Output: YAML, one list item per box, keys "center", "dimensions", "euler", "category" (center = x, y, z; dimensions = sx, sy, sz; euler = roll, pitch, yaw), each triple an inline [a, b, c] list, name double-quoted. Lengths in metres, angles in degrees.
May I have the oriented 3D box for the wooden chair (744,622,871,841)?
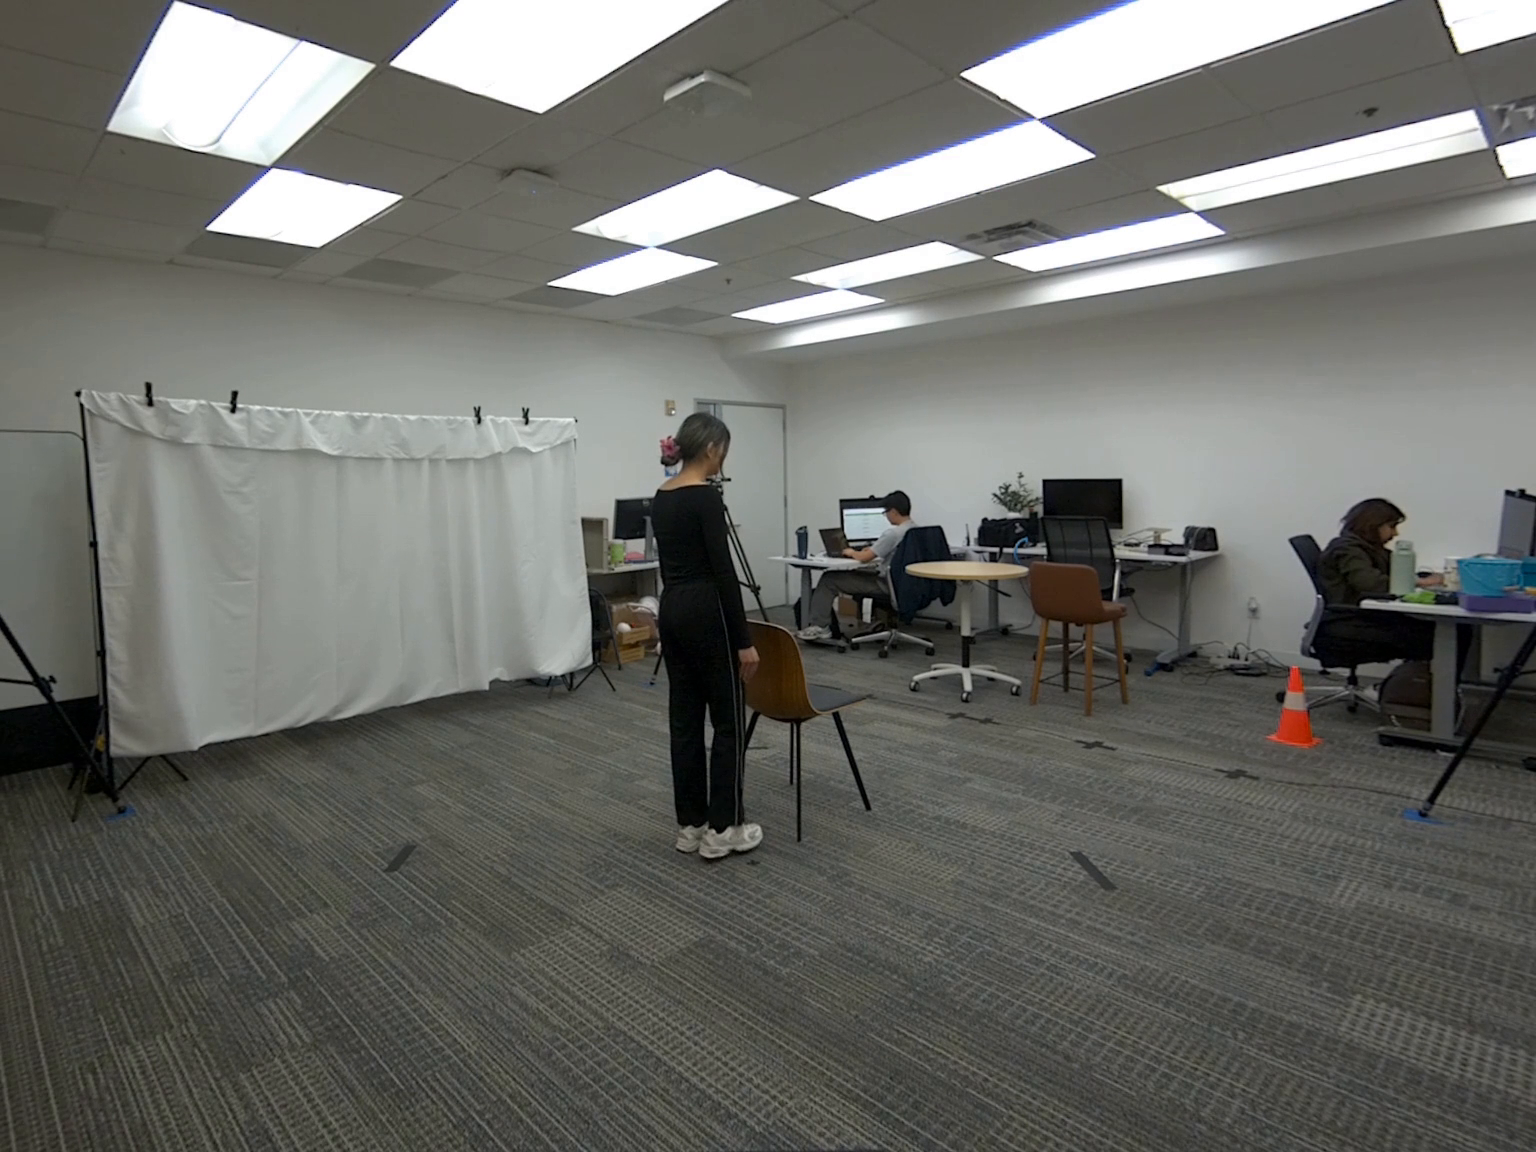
- center: [0.115, 0.560, 3.567]
  dimensions: [0.511, 0.871, 0.493]
  euler: [-11, 10, -44]
  category: "wooden chair"
